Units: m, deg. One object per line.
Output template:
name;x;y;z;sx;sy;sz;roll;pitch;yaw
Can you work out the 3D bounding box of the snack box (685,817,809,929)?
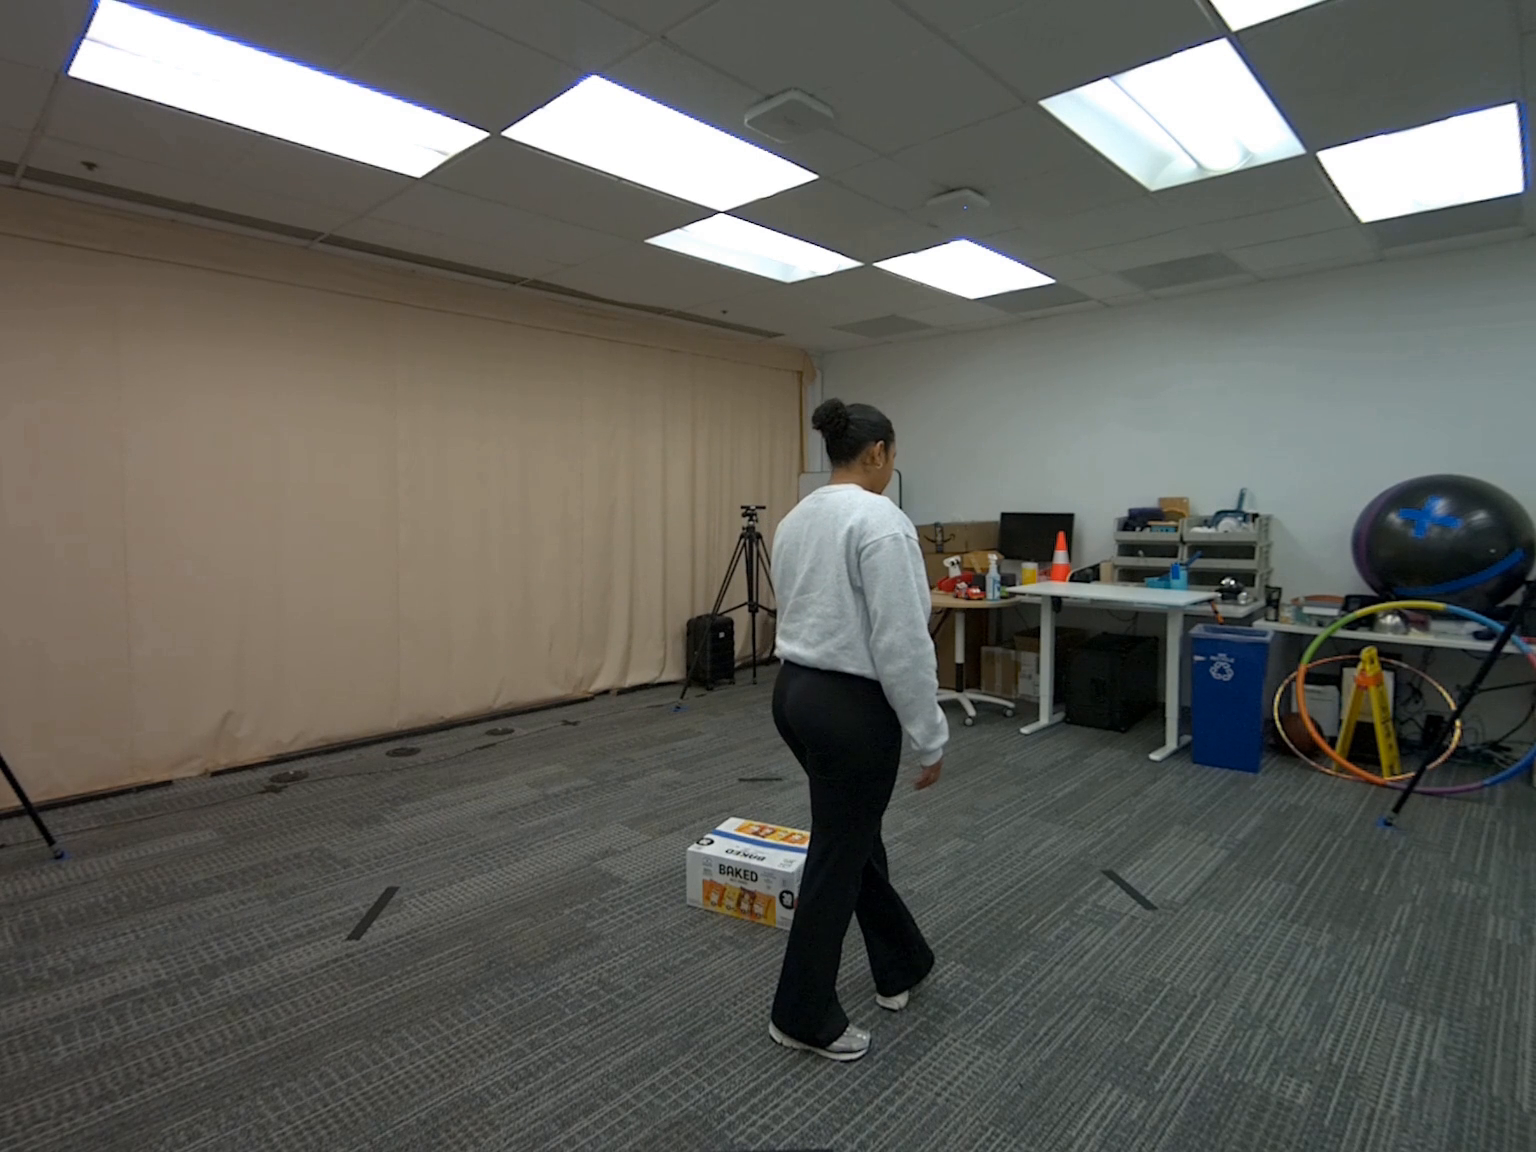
snack box;-0.024;1.043;2.979;0.416;0.205;0.332;2;5;27
